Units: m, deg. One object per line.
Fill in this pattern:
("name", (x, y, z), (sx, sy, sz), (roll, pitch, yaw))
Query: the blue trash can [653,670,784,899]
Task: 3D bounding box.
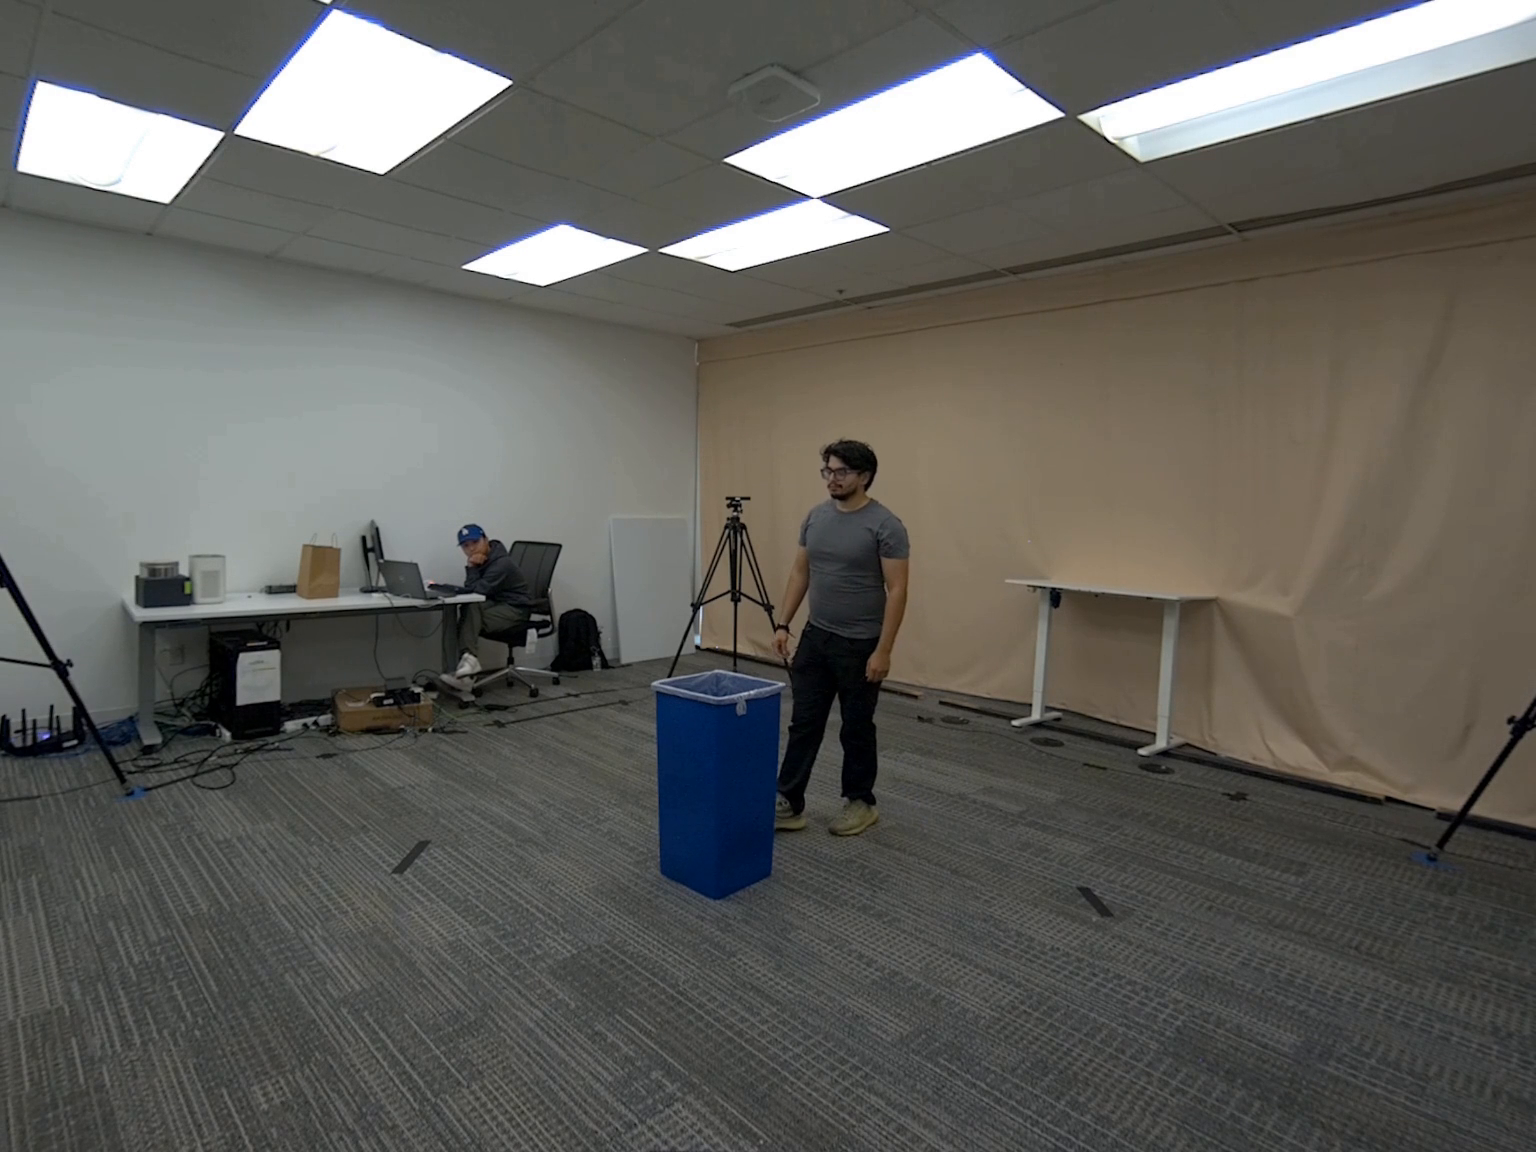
("blue trash can", (-0.200, 0.748, 3.101), (0.383, 0.712, 0.369), (4, 4, 42))
